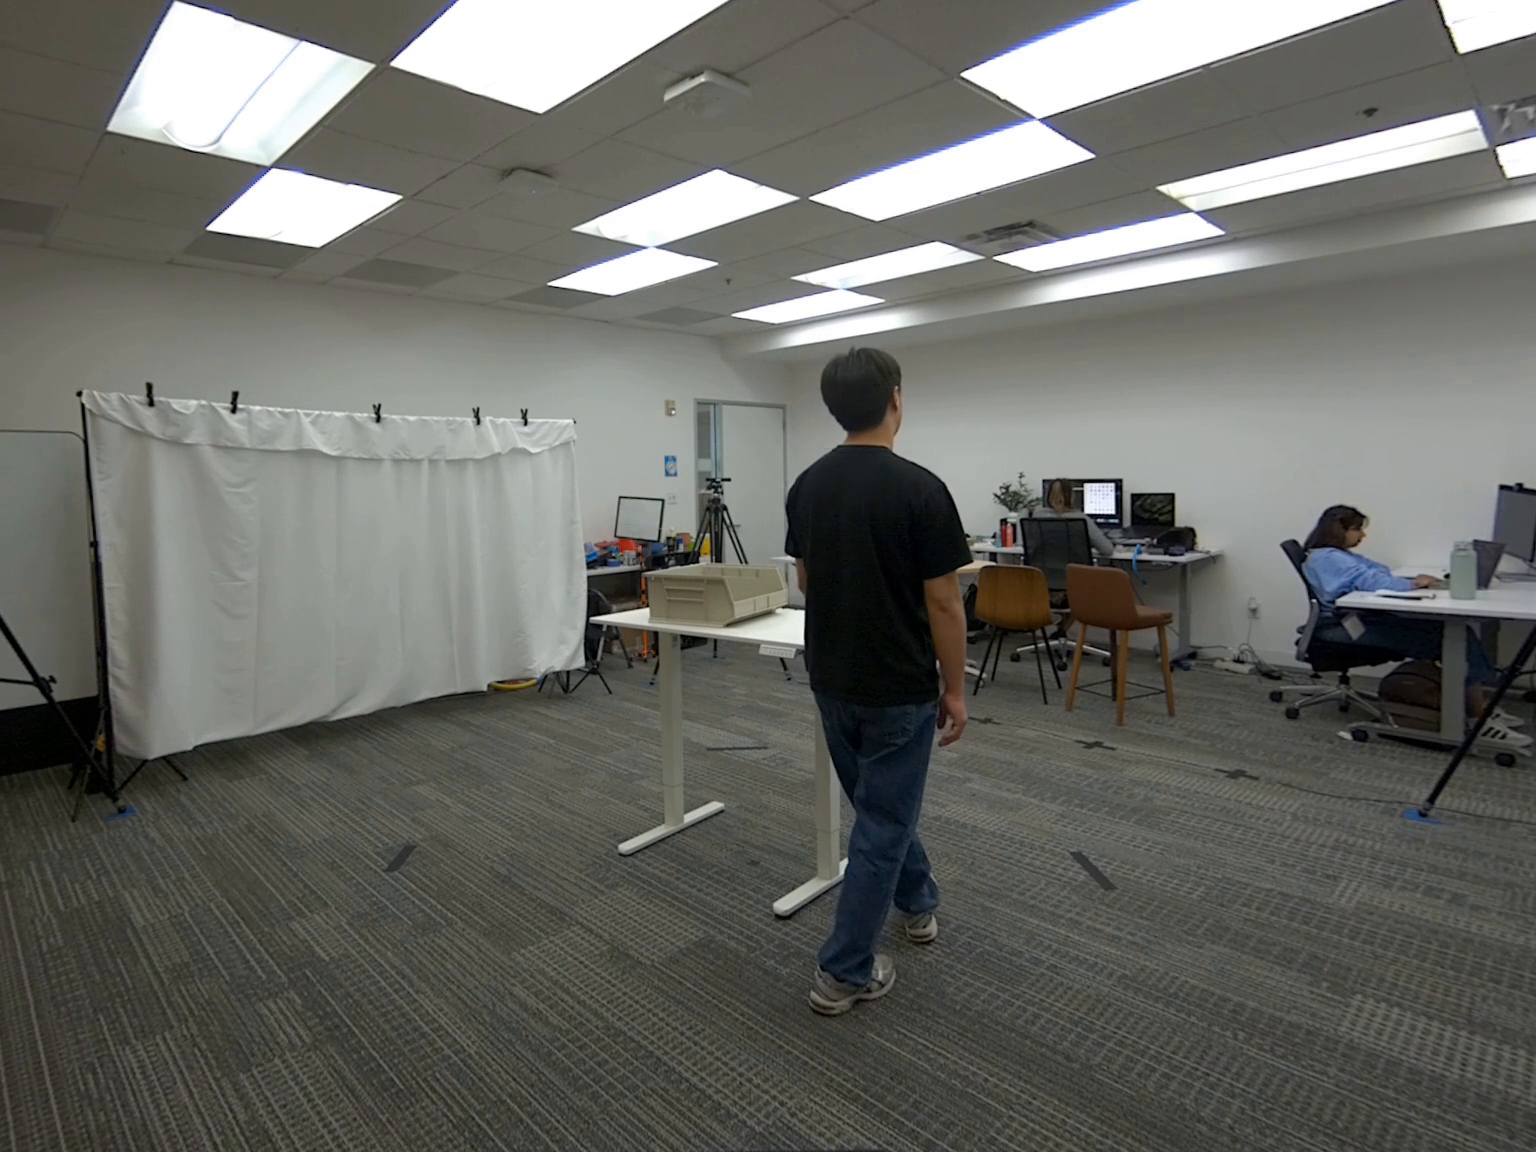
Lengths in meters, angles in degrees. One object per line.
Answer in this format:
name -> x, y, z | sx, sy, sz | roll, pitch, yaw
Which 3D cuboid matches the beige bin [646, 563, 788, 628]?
beige bin -> -0.184, 0.069, 3.165 | 0.387, 0.188, 0.413 | 1, 6, 29
